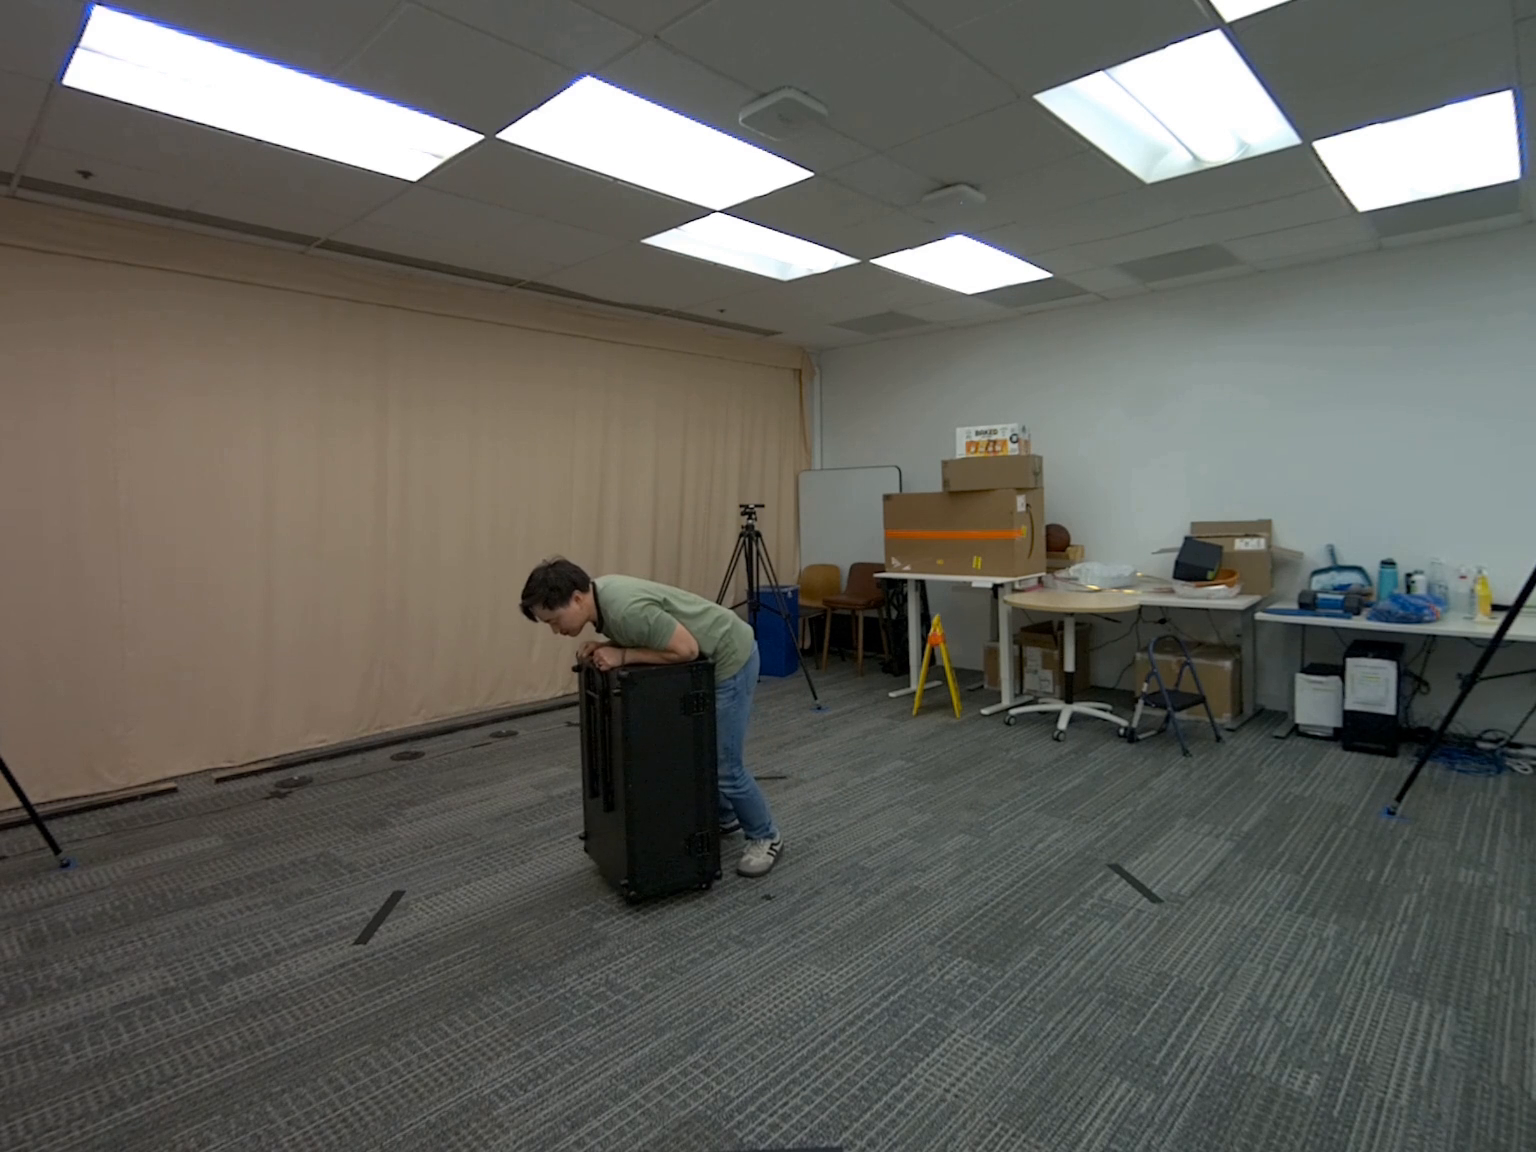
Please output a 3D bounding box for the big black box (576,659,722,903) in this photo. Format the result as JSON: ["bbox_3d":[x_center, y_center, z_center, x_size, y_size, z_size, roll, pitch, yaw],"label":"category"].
[{"bbox_3d":[-0.461,0.720,3.079,0.386,0.859,0.535,-4,5,-28],"label":"big black box"}]
